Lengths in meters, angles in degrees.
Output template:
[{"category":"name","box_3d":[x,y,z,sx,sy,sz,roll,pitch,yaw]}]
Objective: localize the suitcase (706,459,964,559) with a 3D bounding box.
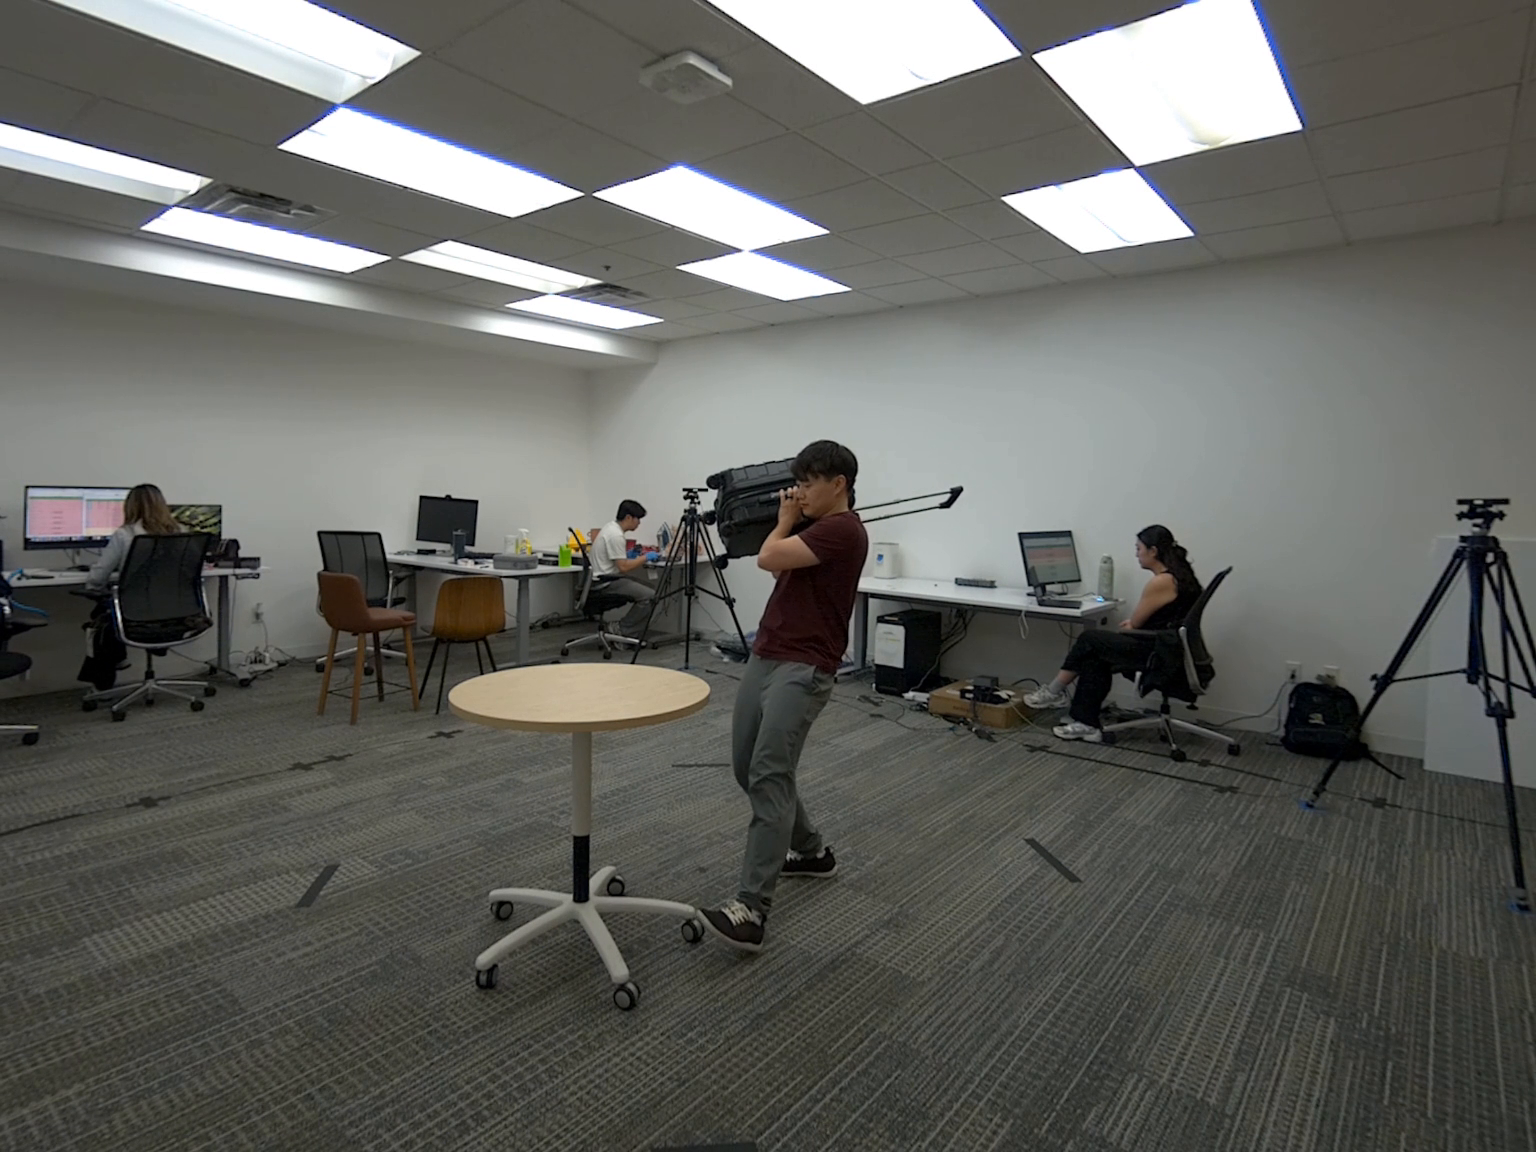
[{"category":"suitcase","box_3d":[0.229,-0.318,3.304,0.970,0.264,0.377,-13,-22,-10]}]
